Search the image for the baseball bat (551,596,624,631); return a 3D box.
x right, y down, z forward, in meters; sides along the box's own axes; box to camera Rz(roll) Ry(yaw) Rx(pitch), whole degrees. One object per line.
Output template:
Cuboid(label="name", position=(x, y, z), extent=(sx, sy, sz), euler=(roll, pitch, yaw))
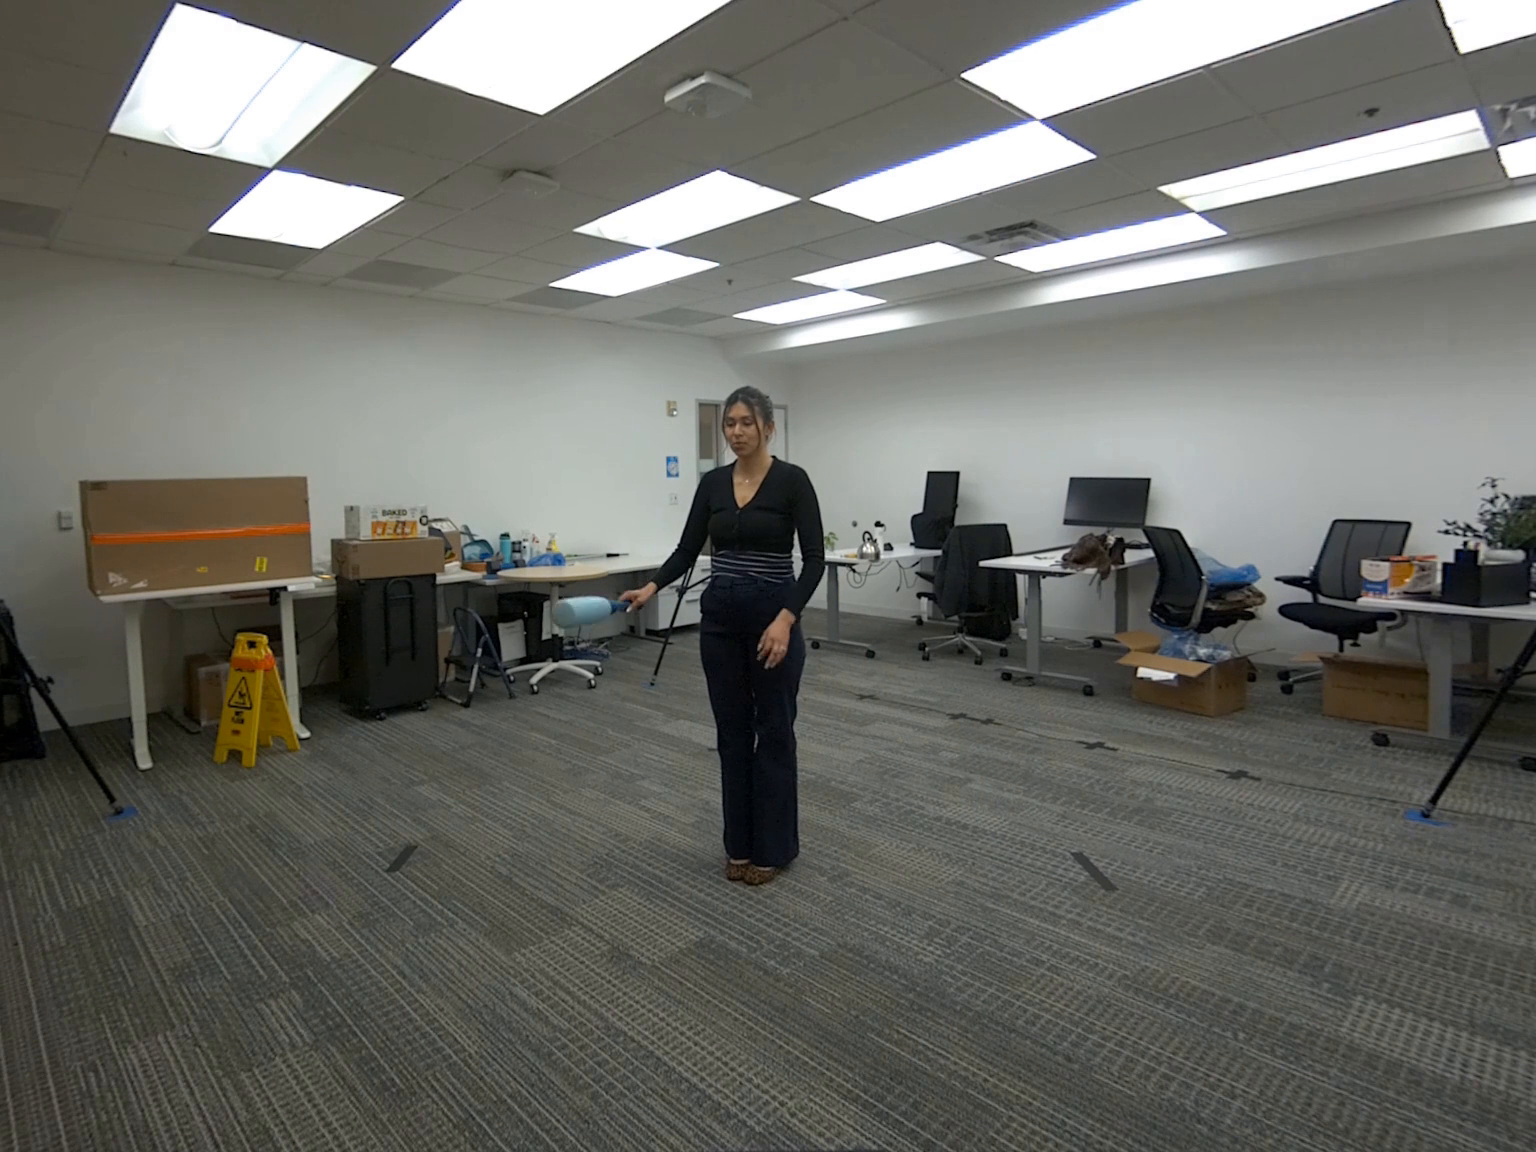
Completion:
Cuboid(label="baseball bat", position=(-0.513, 0.110, 2.723), extent=(0.090, 0.089, 0.534), euler=(1, 2, 16))
